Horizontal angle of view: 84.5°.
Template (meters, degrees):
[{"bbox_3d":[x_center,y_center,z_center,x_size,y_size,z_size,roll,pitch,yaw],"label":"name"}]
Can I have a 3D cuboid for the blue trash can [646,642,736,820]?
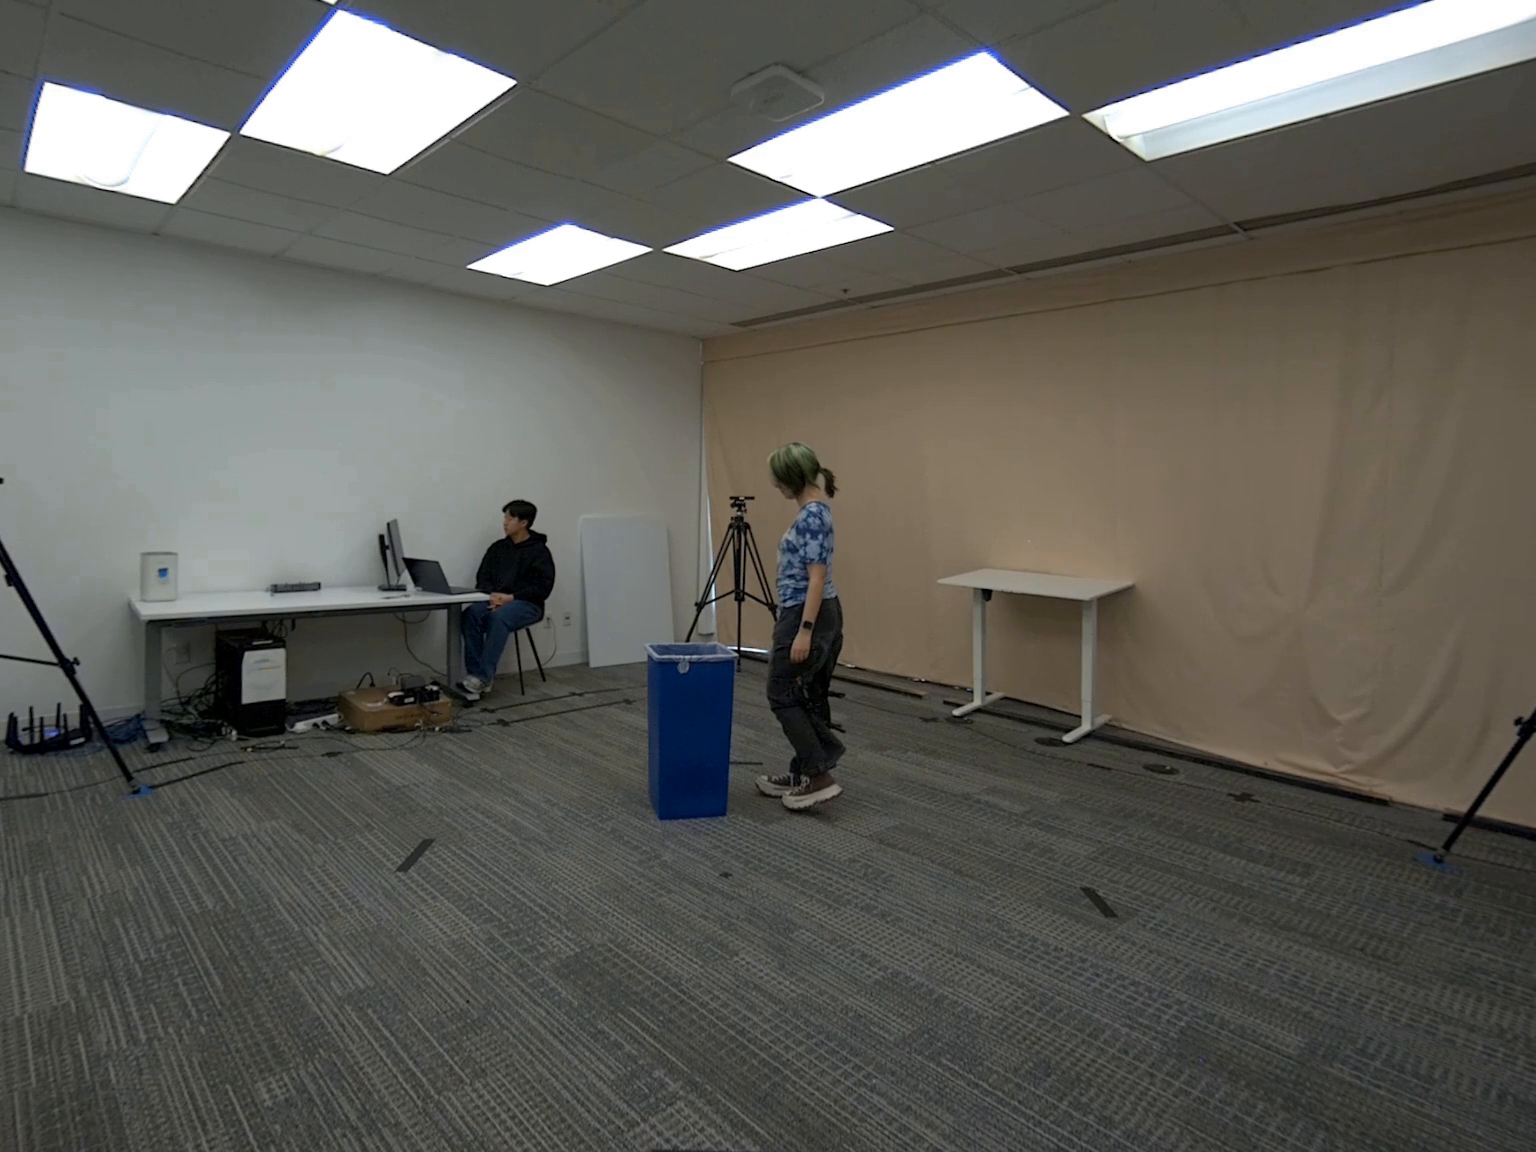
[{"bbox_3d":[-0.370,0.684,3.786,0.373,0.712,0.379,1,3,-16],"label":"blue trash can"}]
